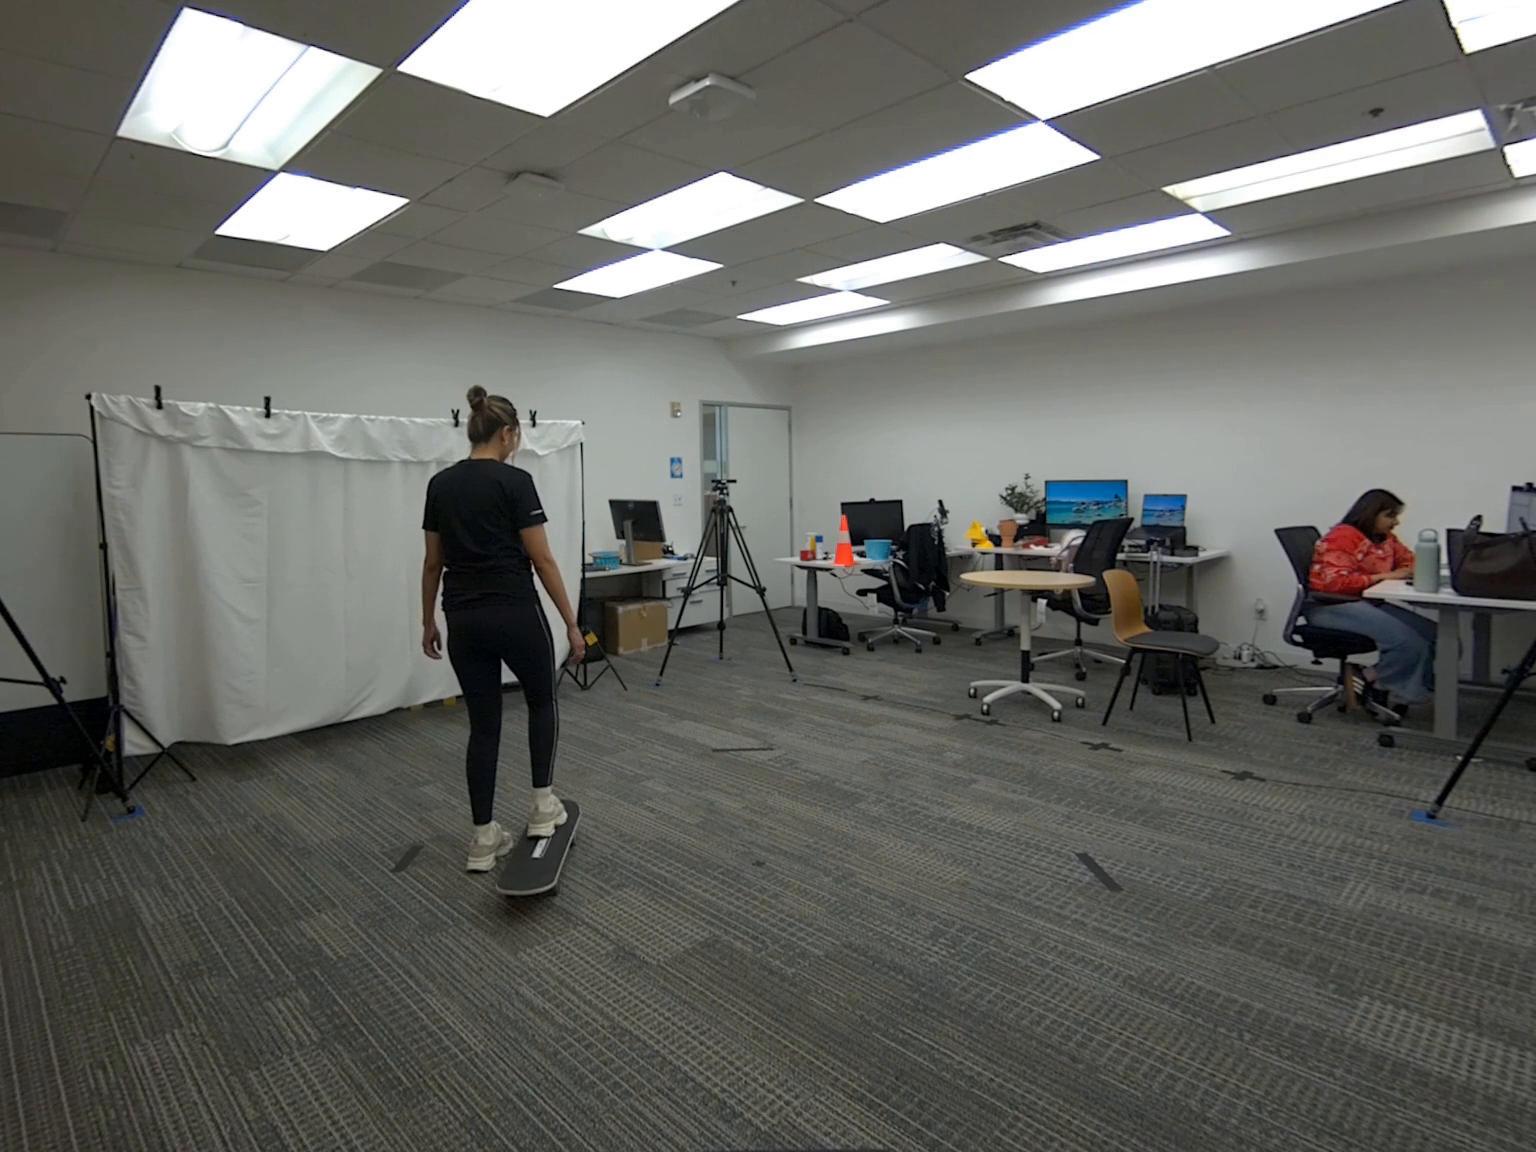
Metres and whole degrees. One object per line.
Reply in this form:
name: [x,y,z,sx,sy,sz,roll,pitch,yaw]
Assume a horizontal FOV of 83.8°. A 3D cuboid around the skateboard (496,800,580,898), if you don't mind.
skateboard: [-0.811,1.010,3.099,0.193,0.110,0.791,-1,6,-4]
